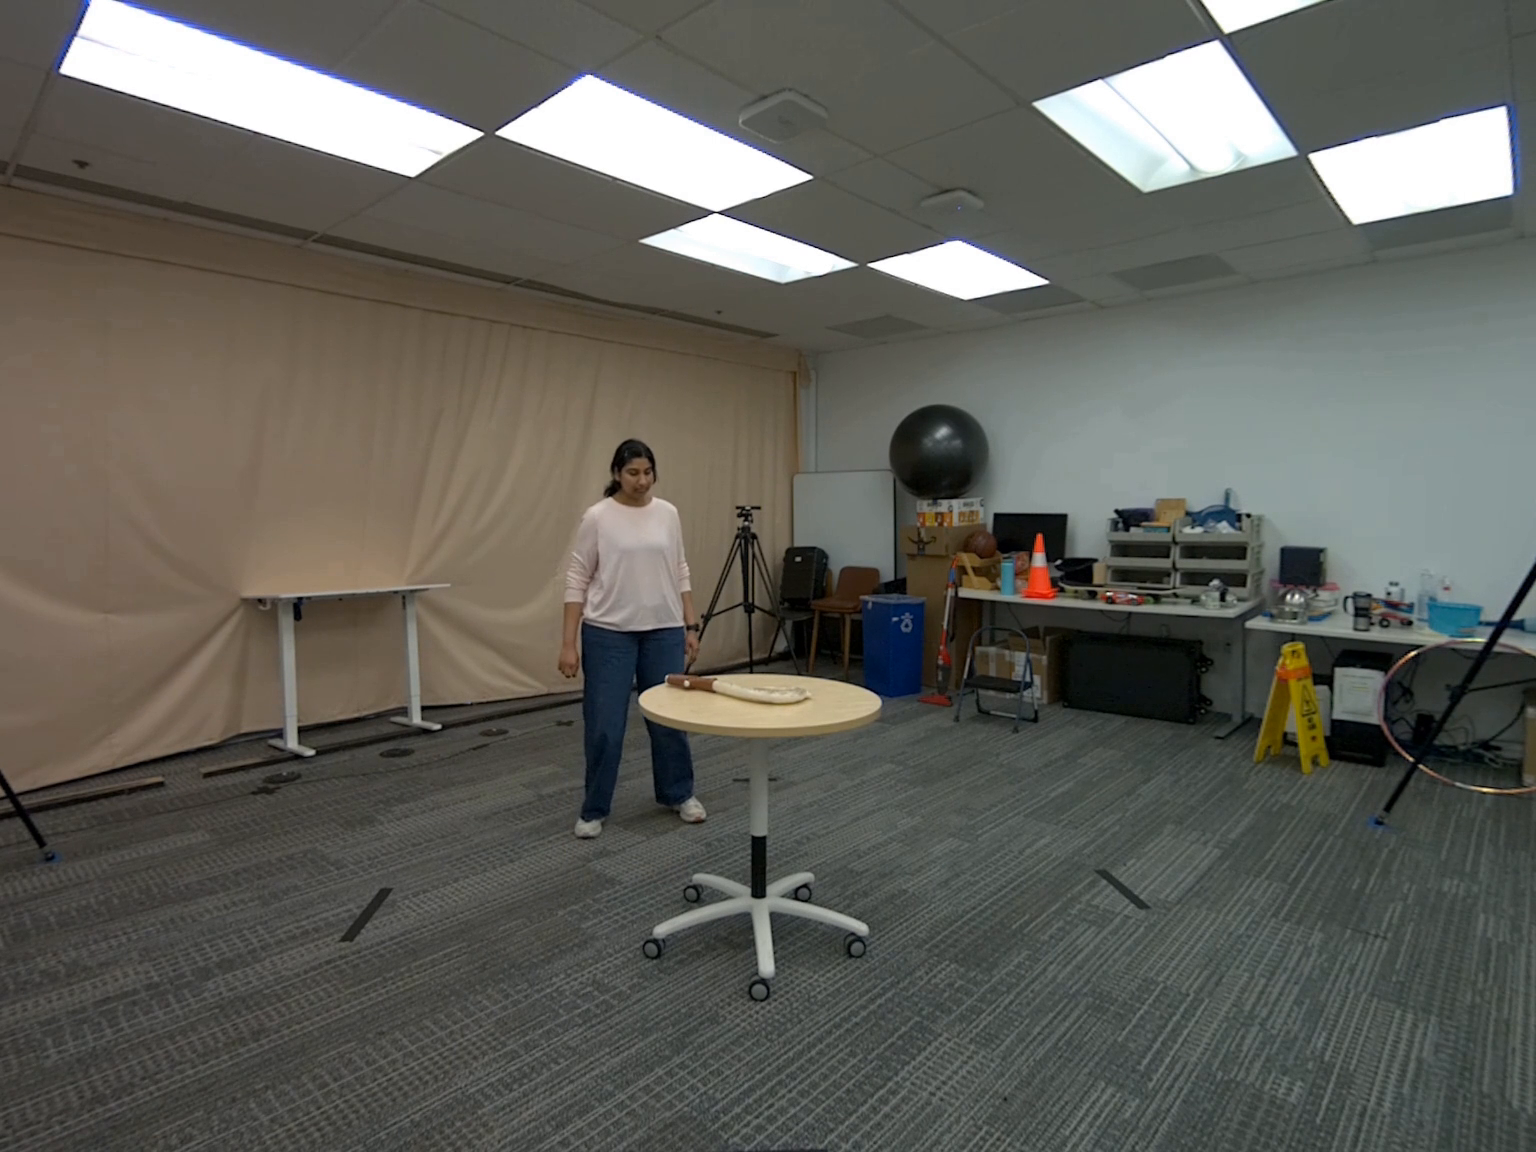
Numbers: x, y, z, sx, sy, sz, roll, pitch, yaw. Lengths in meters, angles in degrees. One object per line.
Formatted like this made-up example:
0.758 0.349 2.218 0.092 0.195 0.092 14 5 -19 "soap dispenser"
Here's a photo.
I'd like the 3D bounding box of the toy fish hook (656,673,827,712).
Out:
-0.094 0.370 2.744 0.522 0.048 0.217 4 -4 34 "toy fish hook"
